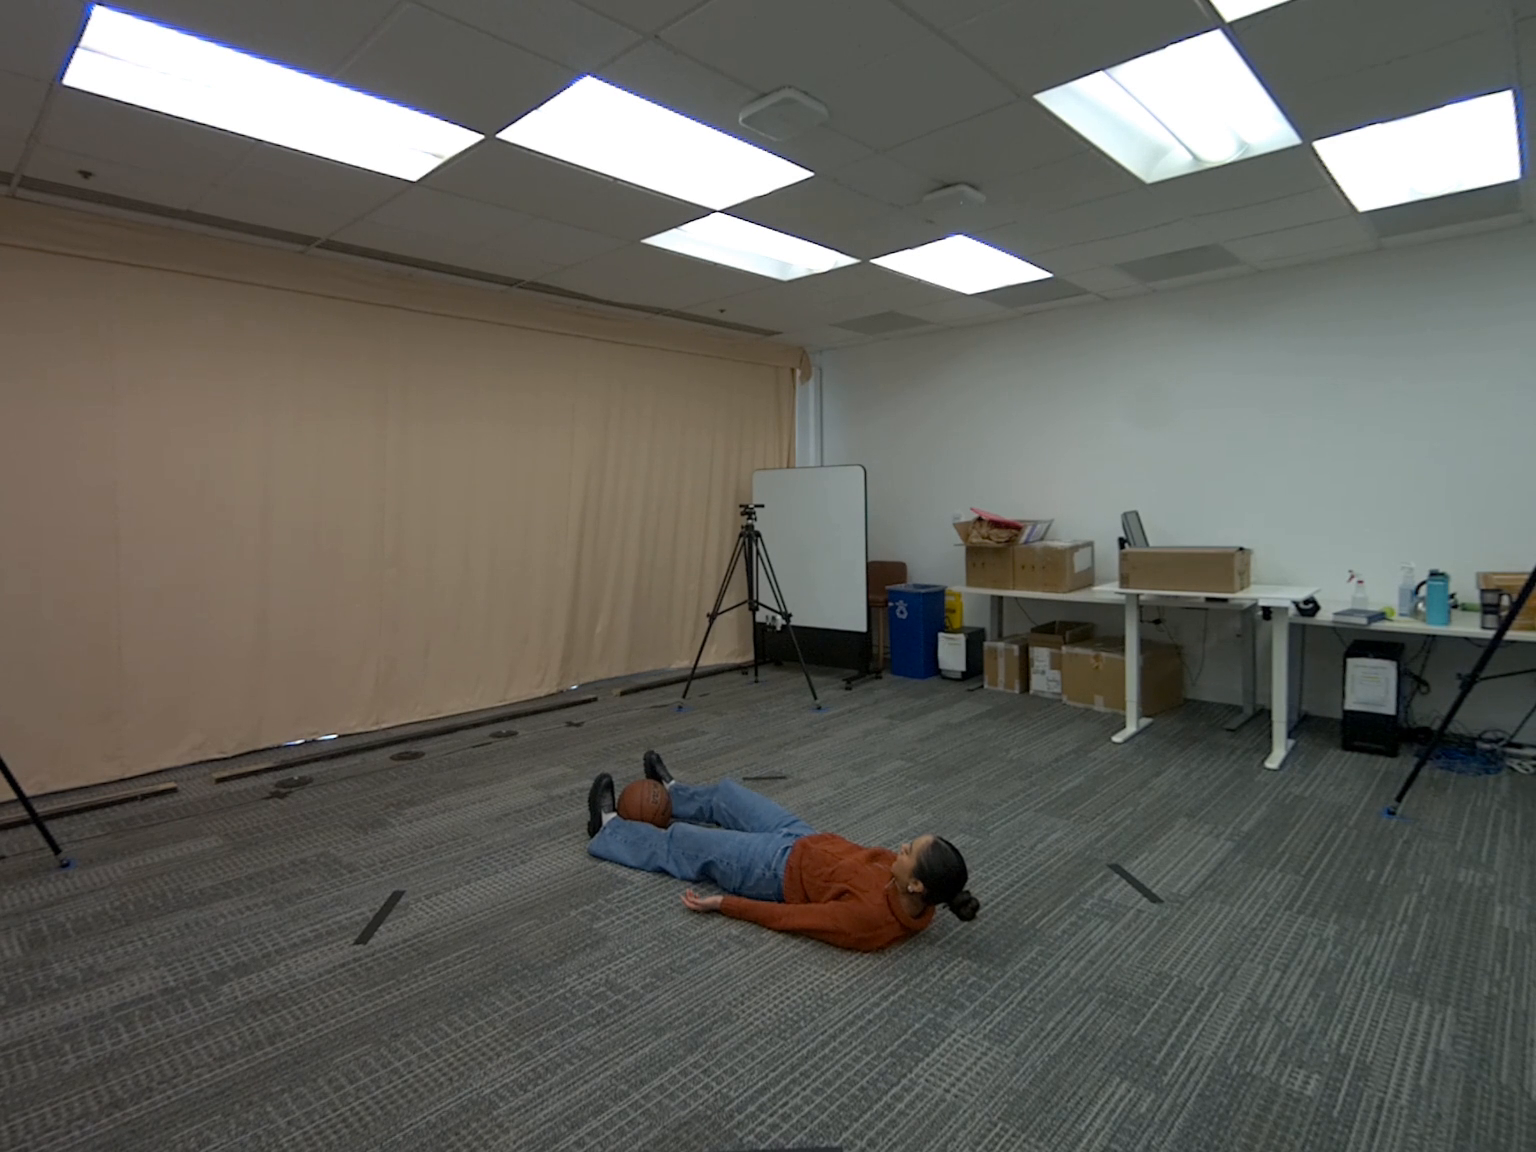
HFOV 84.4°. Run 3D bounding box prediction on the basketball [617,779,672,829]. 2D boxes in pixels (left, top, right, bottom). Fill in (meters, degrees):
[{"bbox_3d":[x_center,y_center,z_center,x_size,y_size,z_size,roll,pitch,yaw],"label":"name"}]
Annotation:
[{"bbox_3d":[-0.531,0.988,3.578,0.236,0.235,0.237,-1,4,-2],"label":"basketball"}]
